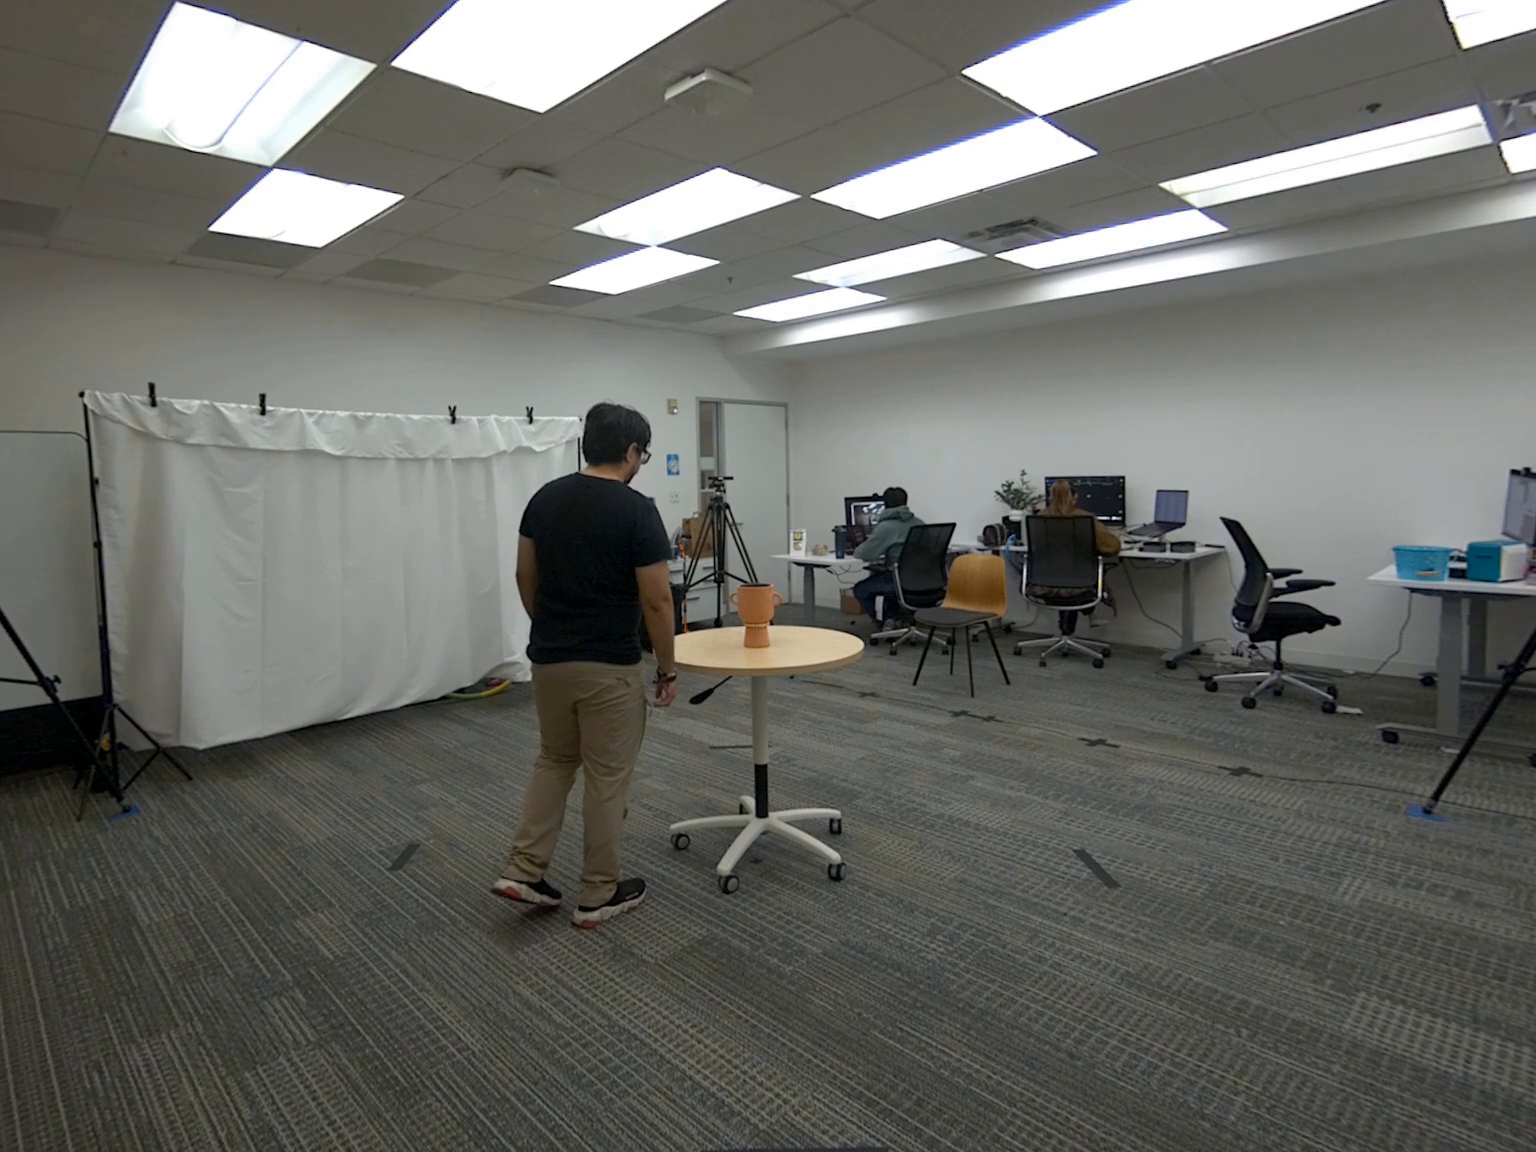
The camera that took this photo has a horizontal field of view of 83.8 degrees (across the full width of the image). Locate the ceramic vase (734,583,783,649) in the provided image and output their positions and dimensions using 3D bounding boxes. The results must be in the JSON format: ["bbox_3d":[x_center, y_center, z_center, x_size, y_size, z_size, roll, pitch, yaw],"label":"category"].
[{"bbox_3d":[-0.041,0.143,3.101,0.131,0.219,0.163,-4,6,-34],"label":"ceramic vase"}]
